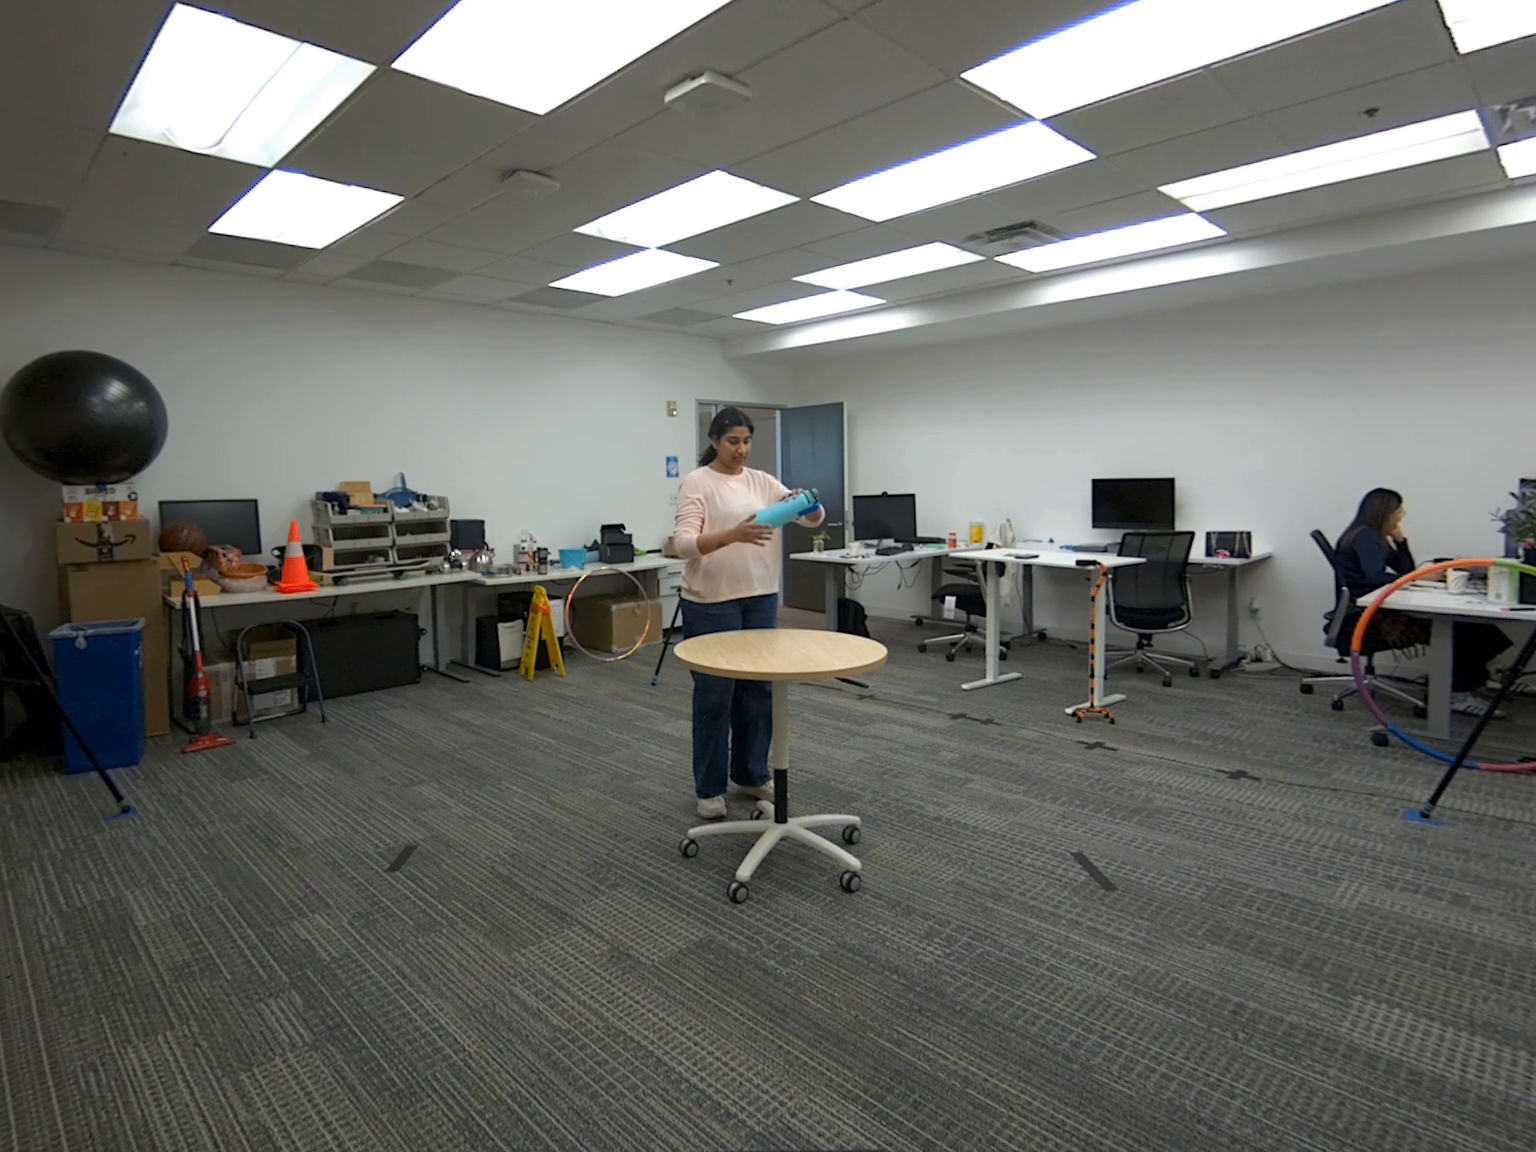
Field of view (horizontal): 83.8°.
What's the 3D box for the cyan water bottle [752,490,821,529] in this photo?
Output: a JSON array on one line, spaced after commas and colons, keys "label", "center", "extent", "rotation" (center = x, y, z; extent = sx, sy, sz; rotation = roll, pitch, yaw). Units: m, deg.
[{"label": "cyan water bottle", "center": [0.079, -0.247, 3.334], "extent": [0.283, 0.092, 0.093], "rotation": [-23, 5, 1]}]
